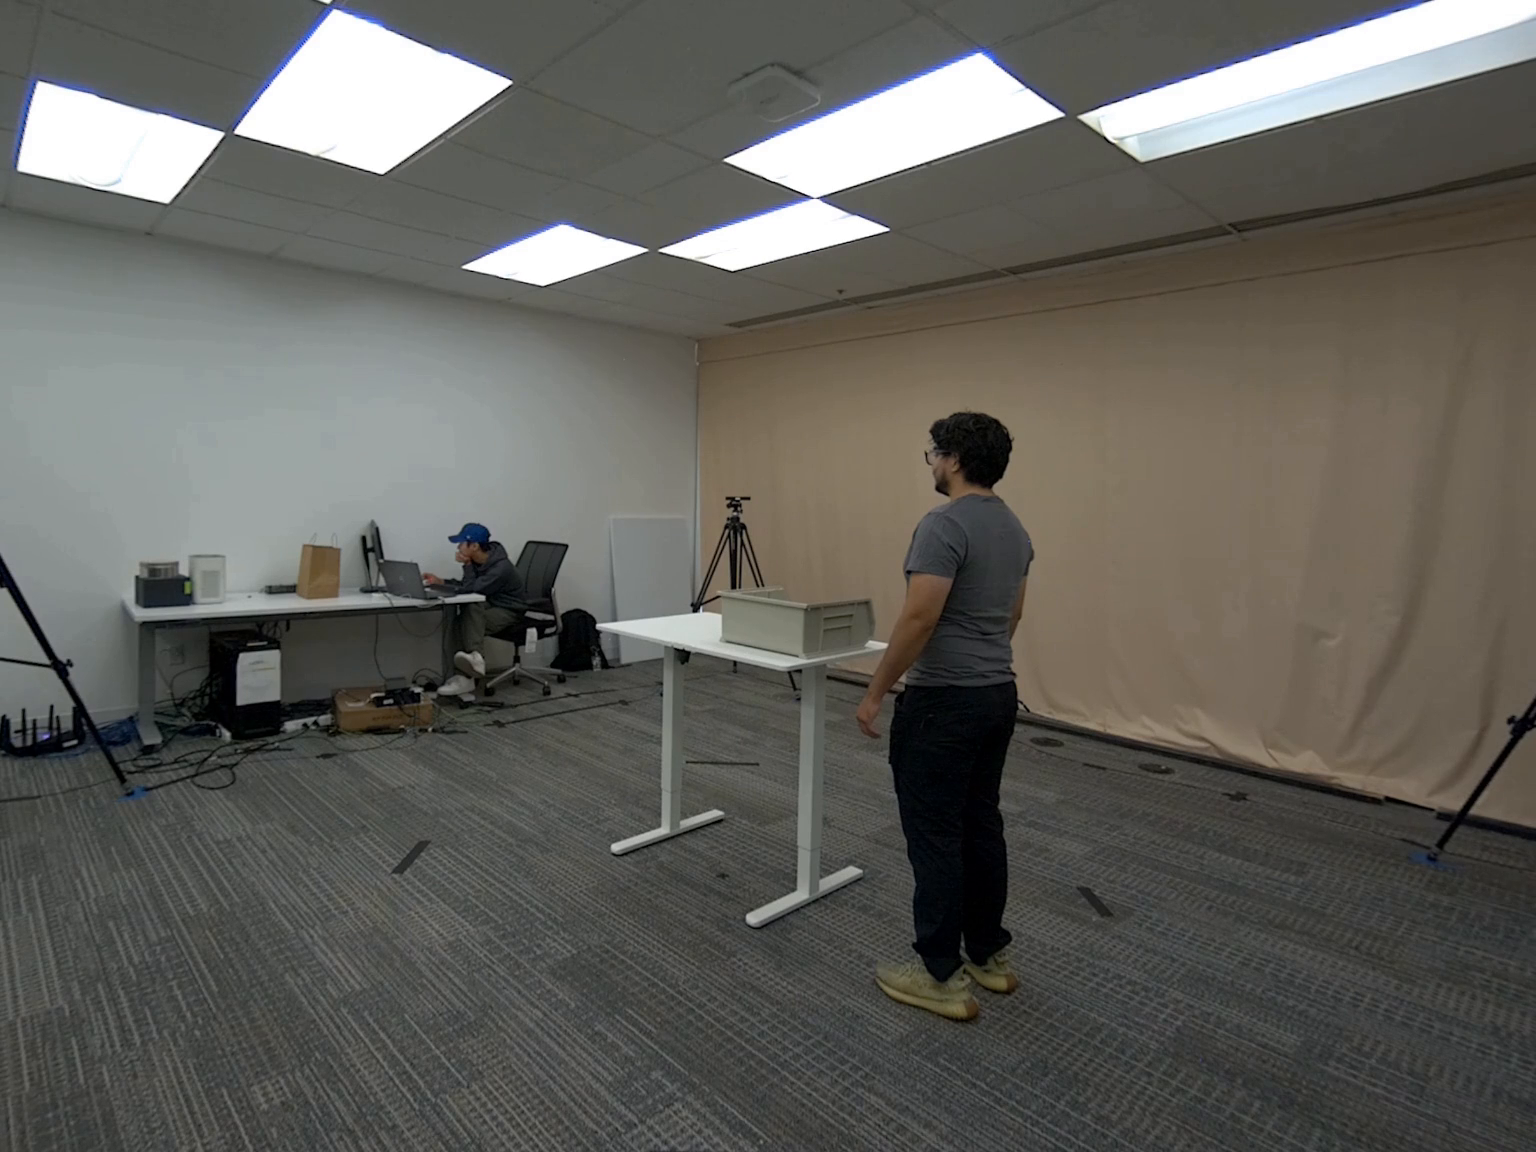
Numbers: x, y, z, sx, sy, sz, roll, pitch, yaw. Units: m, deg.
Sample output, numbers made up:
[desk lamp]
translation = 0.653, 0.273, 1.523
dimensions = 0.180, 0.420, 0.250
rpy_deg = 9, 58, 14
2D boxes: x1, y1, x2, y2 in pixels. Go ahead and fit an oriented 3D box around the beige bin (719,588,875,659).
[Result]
[beige bin]
translation = 0.090, 0.155, 2.962
dimensions = 0.369, 0.188, 0.433
rpy_deg = -5, 8, -44
